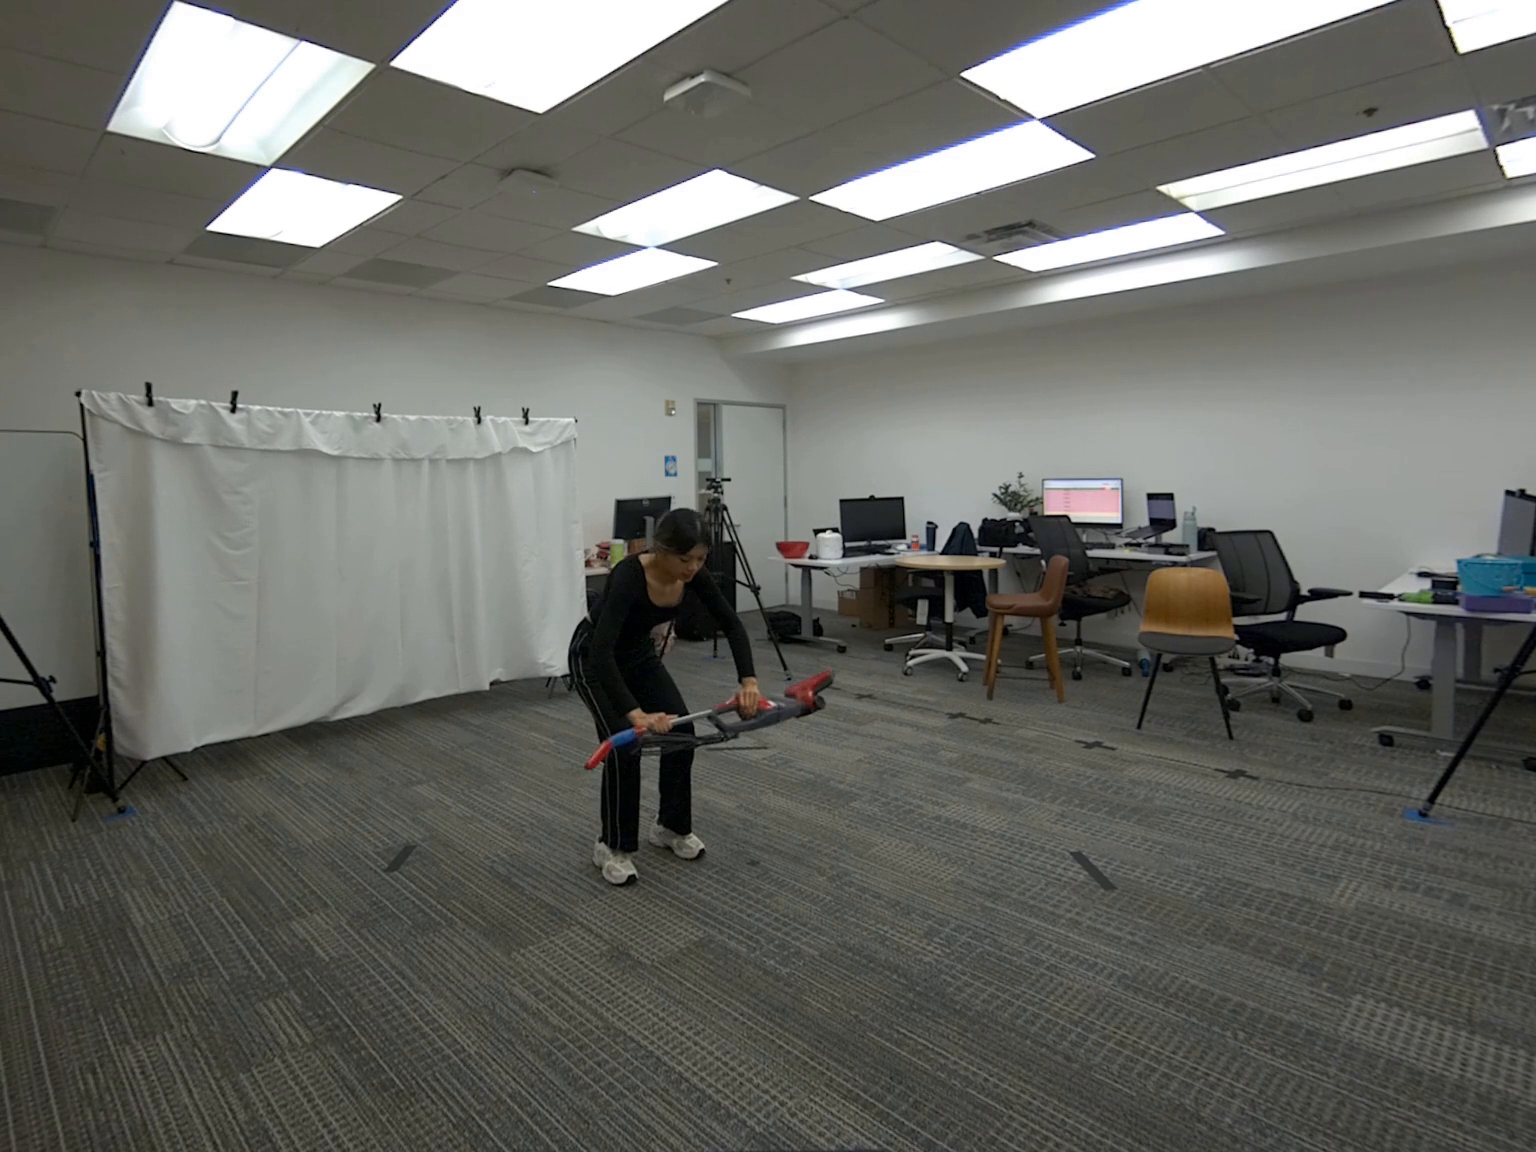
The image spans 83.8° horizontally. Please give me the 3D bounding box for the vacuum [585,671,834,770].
[{"bbox_3d":[-0.185,0.494,2.847,1.022,0.146,0.255,-7,-17,-46],"label":"vacuum"}]
